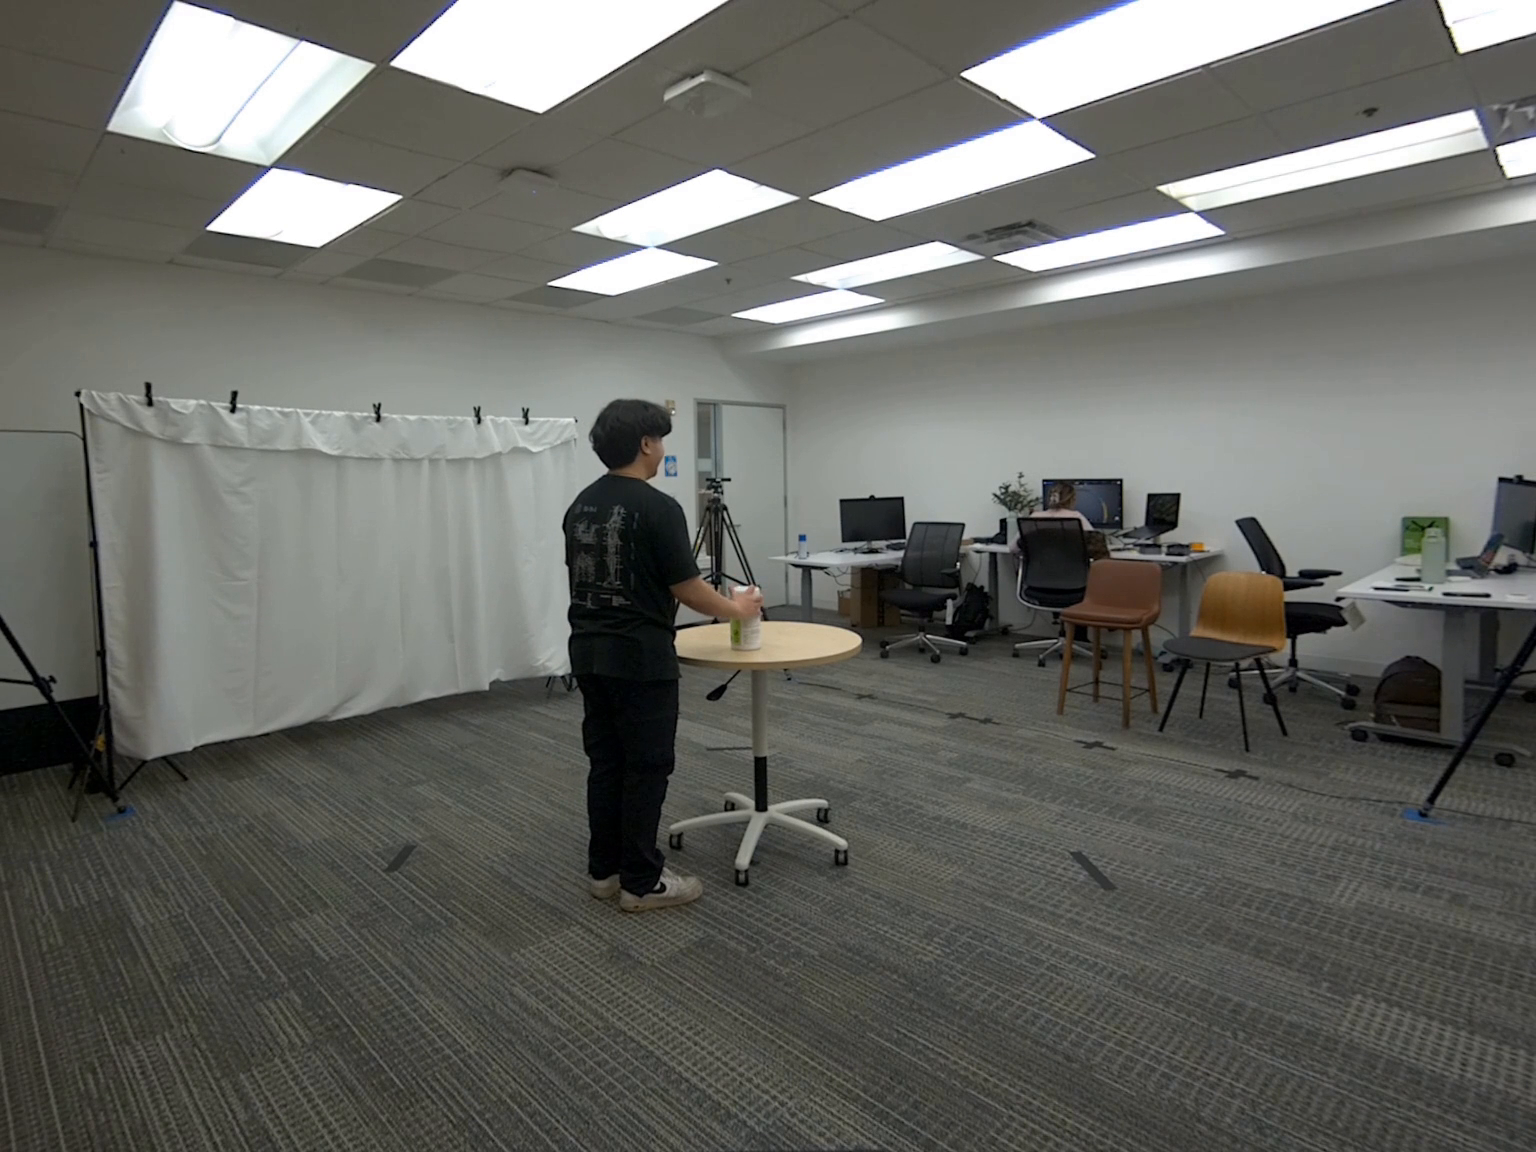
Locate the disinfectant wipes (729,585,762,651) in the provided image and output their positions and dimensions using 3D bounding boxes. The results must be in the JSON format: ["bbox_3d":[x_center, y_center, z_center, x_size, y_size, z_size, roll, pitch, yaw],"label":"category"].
[{"bbox_3d":[-0.069,0.154,3.043,0.118,0.217,0.118,-3,4,-1],"label":"disinfectant wipes"}]
